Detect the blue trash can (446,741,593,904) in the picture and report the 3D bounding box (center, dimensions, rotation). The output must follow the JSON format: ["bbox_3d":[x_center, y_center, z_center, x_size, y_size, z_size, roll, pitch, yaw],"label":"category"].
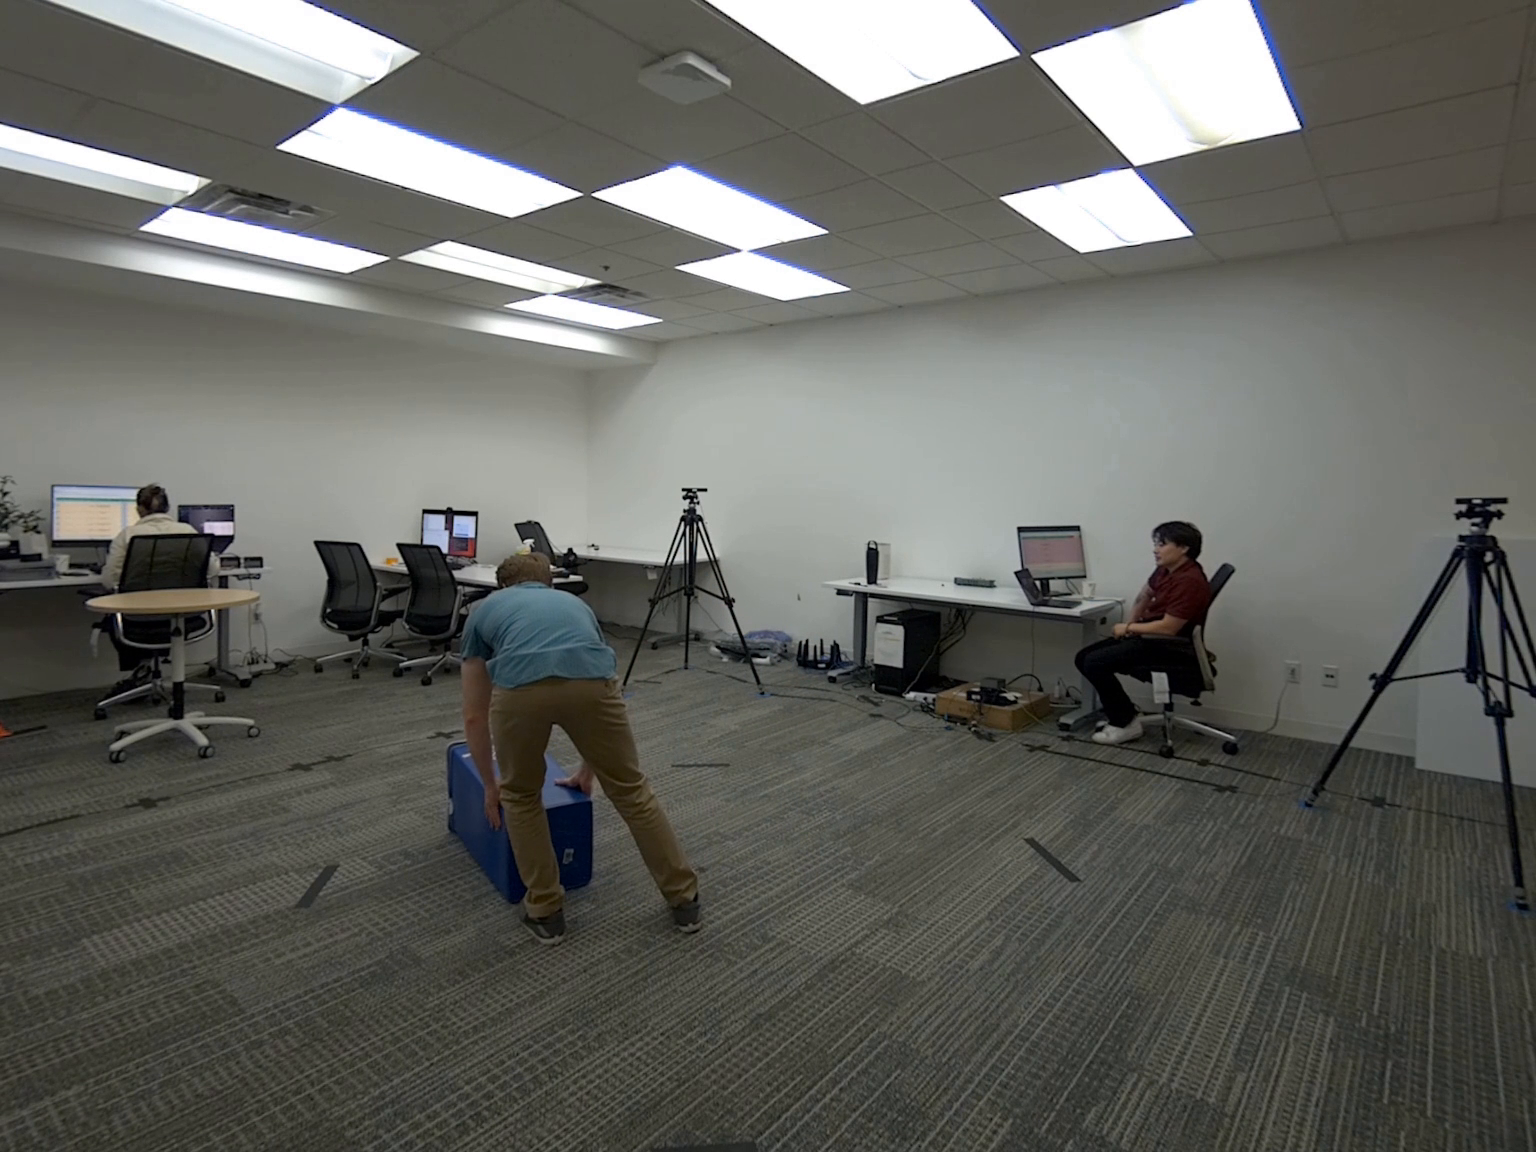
[{"bbox_3d":[-0.942,0.886,3.180,0.364,0.376,0.738,-2,9,-34],"label":"blue trash can"}]
